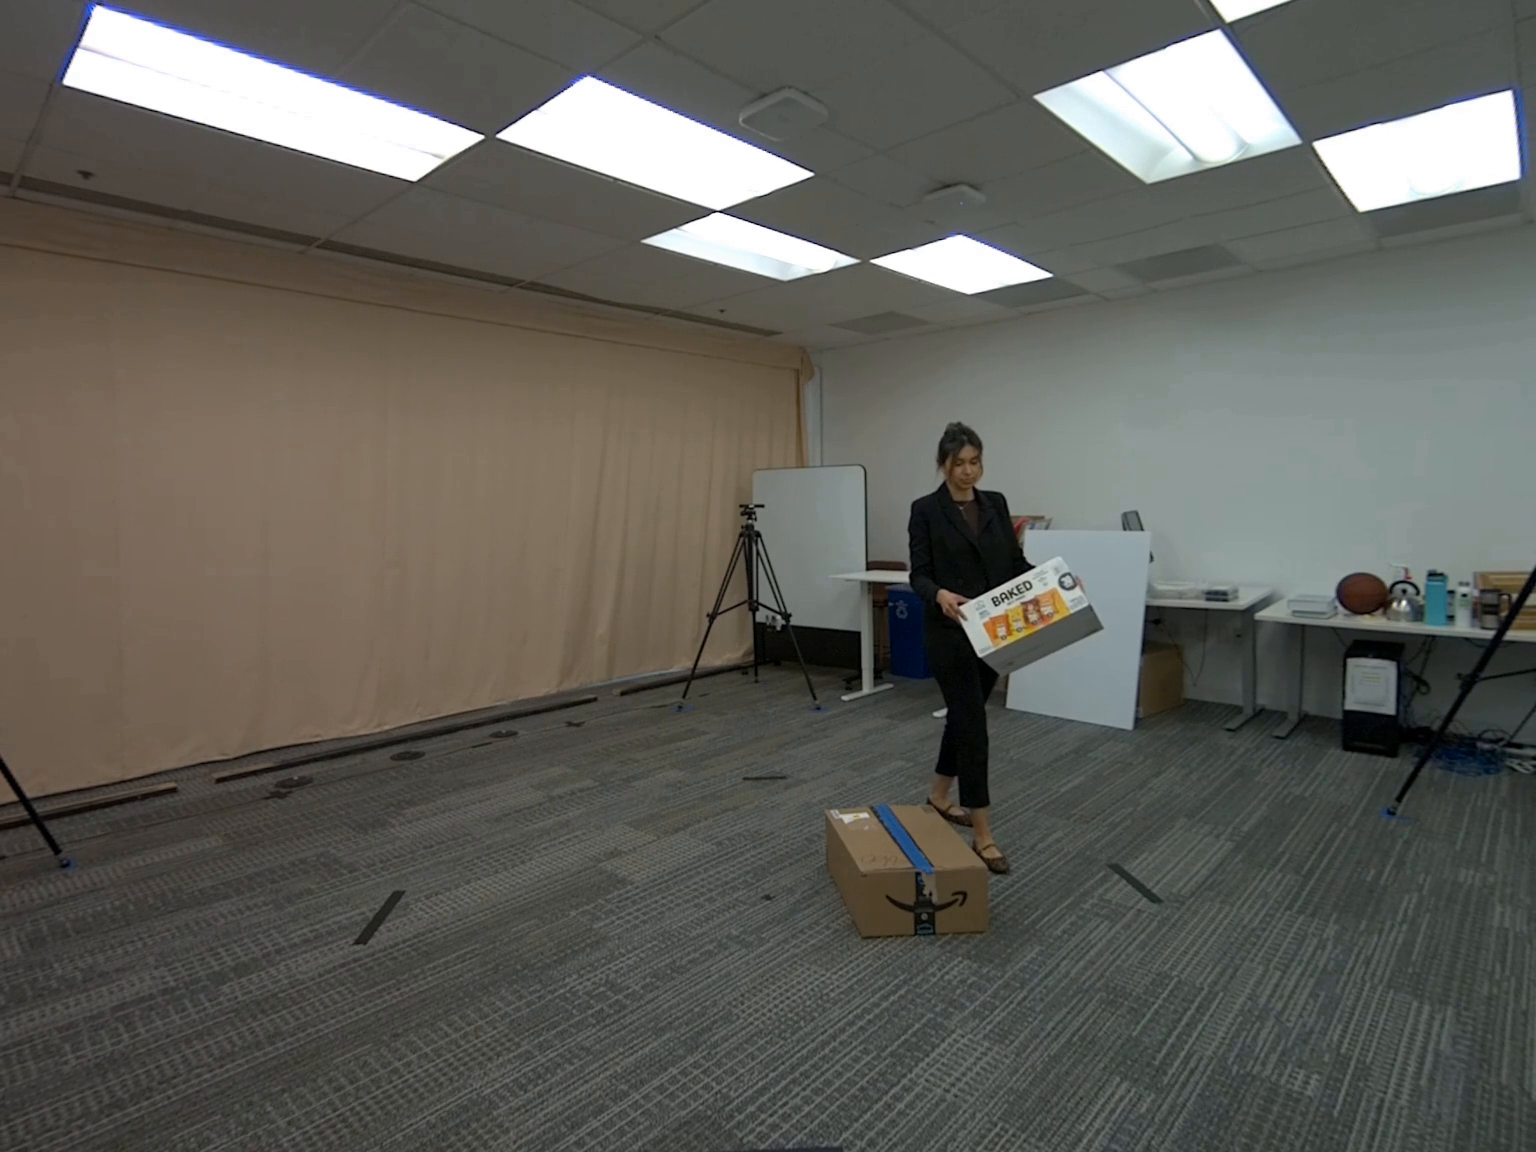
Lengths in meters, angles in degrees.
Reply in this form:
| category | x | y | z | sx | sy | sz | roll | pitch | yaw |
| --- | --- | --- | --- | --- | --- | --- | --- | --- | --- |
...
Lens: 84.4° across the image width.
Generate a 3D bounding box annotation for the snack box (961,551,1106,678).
| category | x | y | z | sx | sy | sz | roll | pitch | yaw |
| --- | --- | --- | --- | --- | --- | --- | --- | --- | --- |
| snack box | 0.942 | 0.148 | 3.049 | 0.409 | 0.211 | 0.328 | -30 | -31 | 17 |
